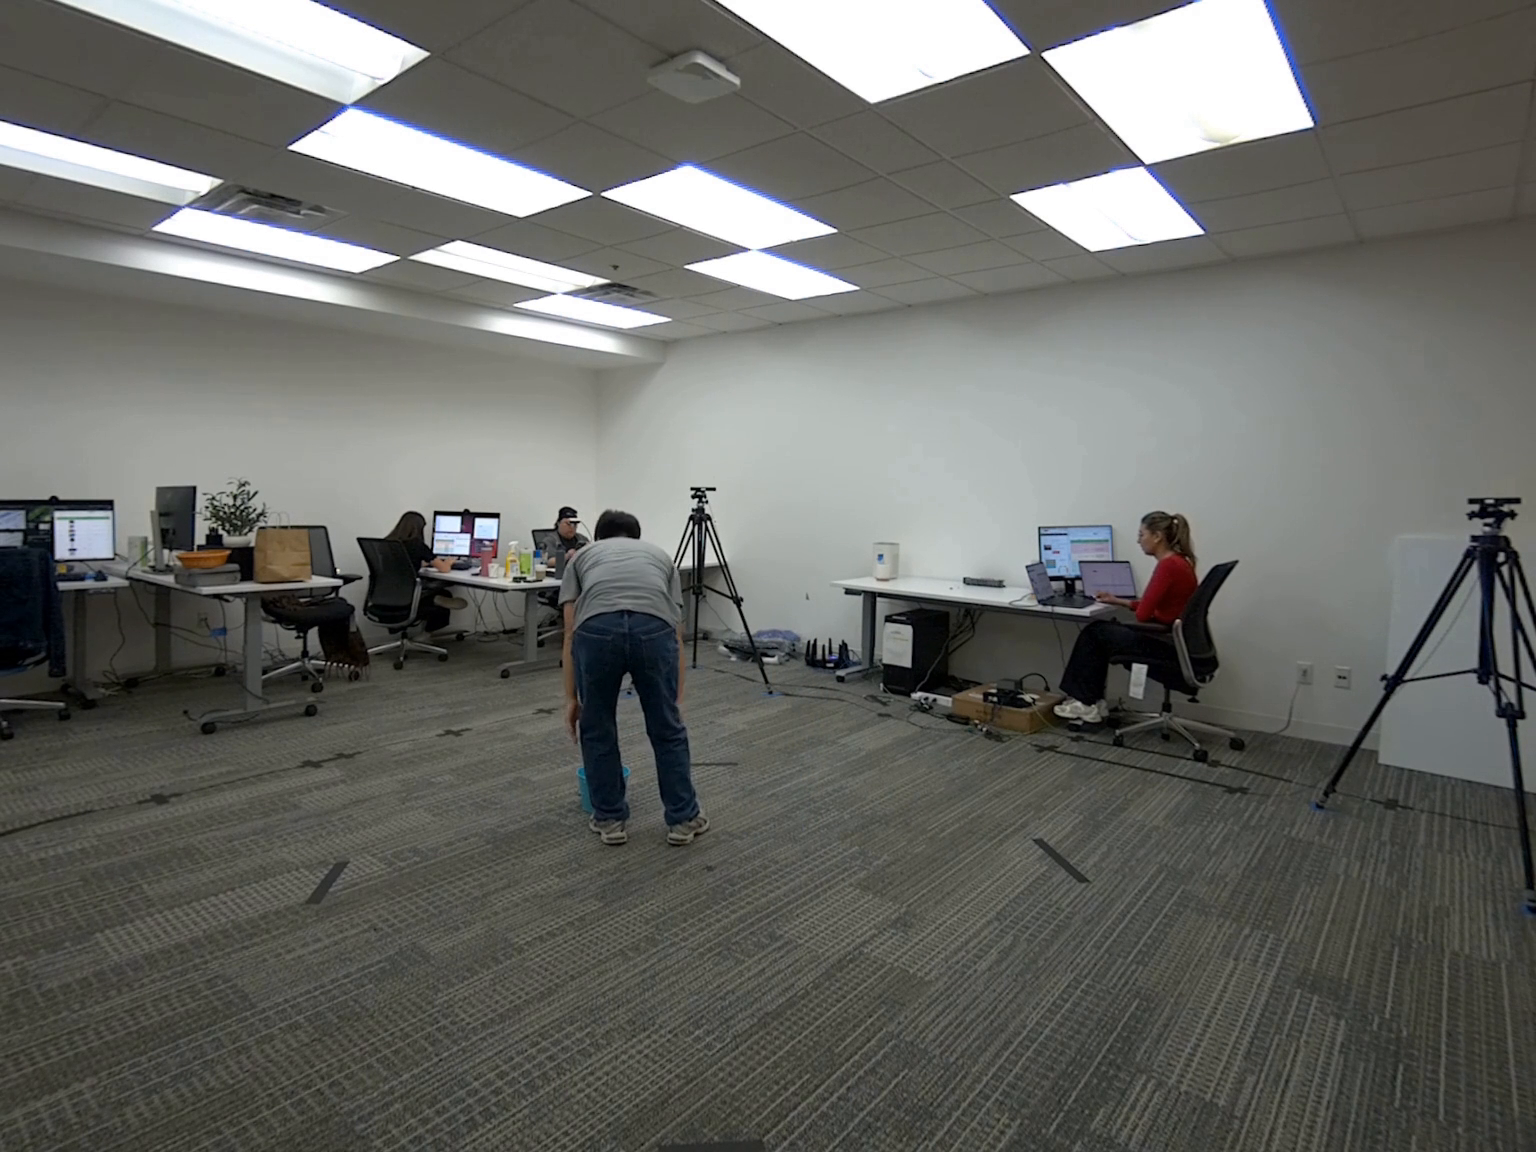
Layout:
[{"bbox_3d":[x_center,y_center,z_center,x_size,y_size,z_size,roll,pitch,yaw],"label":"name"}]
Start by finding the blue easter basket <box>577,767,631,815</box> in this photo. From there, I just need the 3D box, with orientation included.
[{"bbox_3d":[-0.727,0.915,3.701,0.243,0.155,0.245,0,5,-2],"label":"blue easter basket"}]
